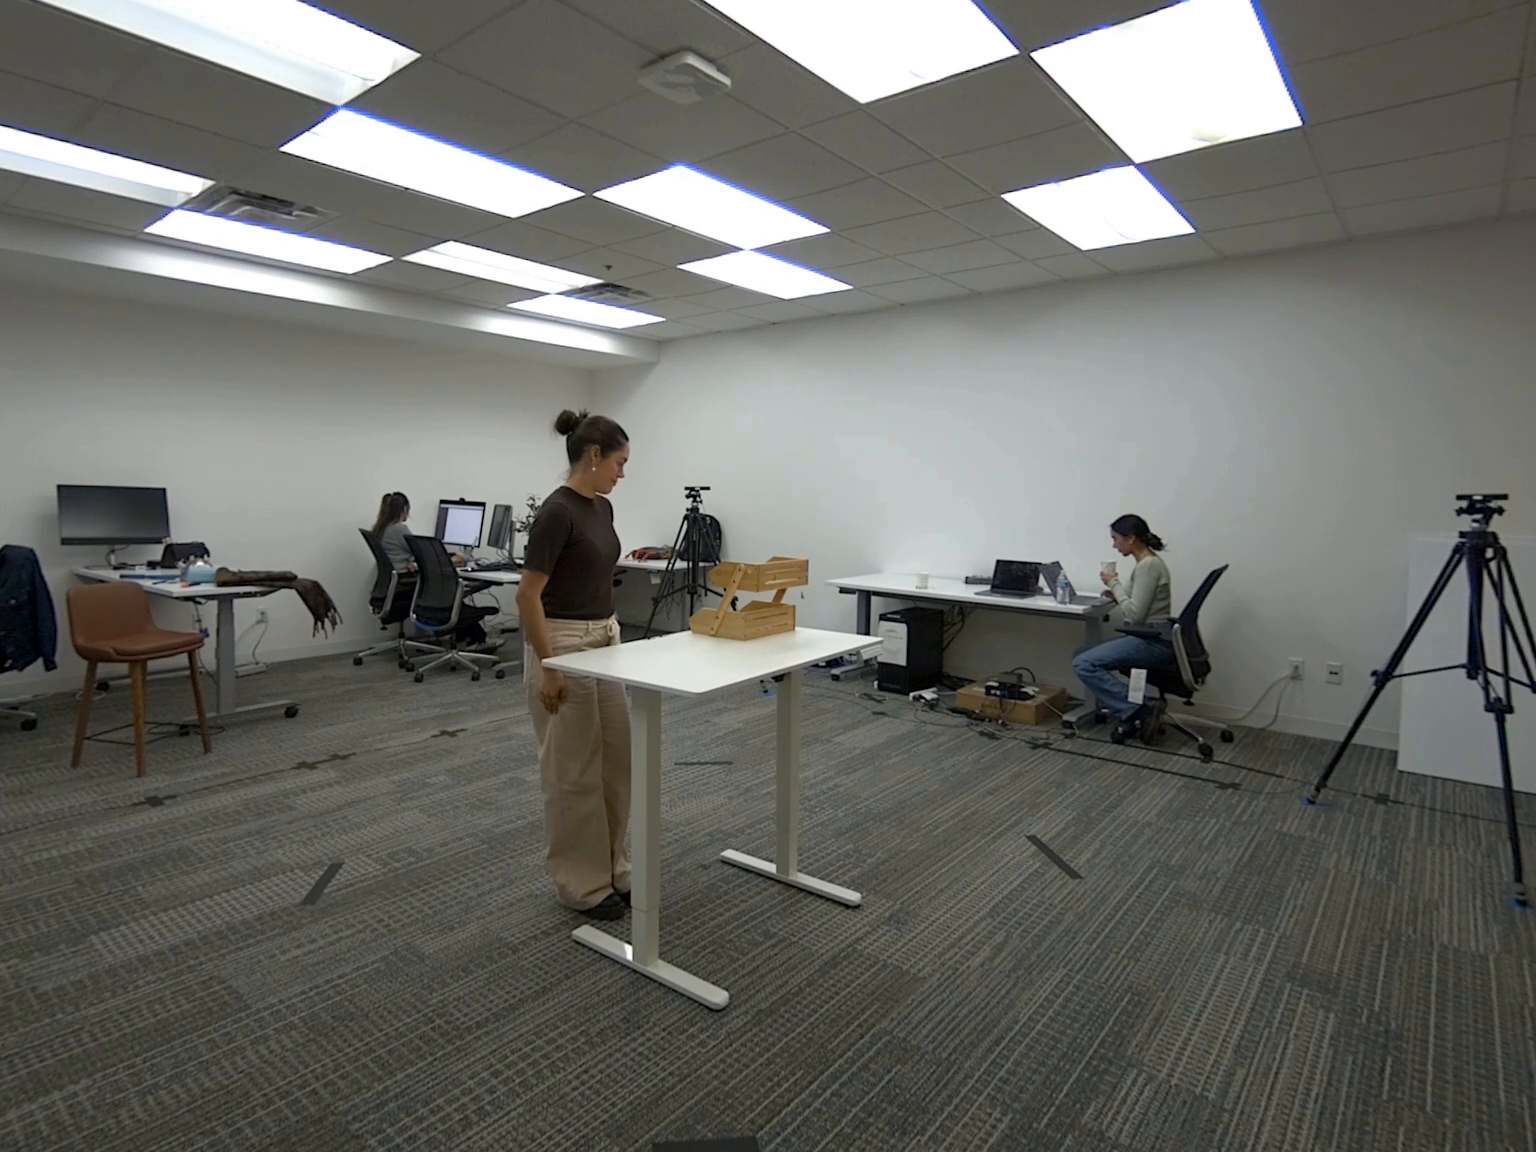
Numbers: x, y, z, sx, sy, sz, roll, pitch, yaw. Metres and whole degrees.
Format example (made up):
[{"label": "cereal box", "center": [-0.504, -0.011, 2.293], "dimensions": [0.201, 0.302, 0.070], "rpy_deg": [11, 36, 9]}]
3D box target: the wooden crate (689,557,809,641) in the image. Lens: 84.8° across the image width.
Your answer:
[{"label": "wooden crate", "center": [-0.080, 0.066, 2.980], "dimensions": [0.312, 0.272, 0.315], "rpy_deg": [6, 7, 38]}]
